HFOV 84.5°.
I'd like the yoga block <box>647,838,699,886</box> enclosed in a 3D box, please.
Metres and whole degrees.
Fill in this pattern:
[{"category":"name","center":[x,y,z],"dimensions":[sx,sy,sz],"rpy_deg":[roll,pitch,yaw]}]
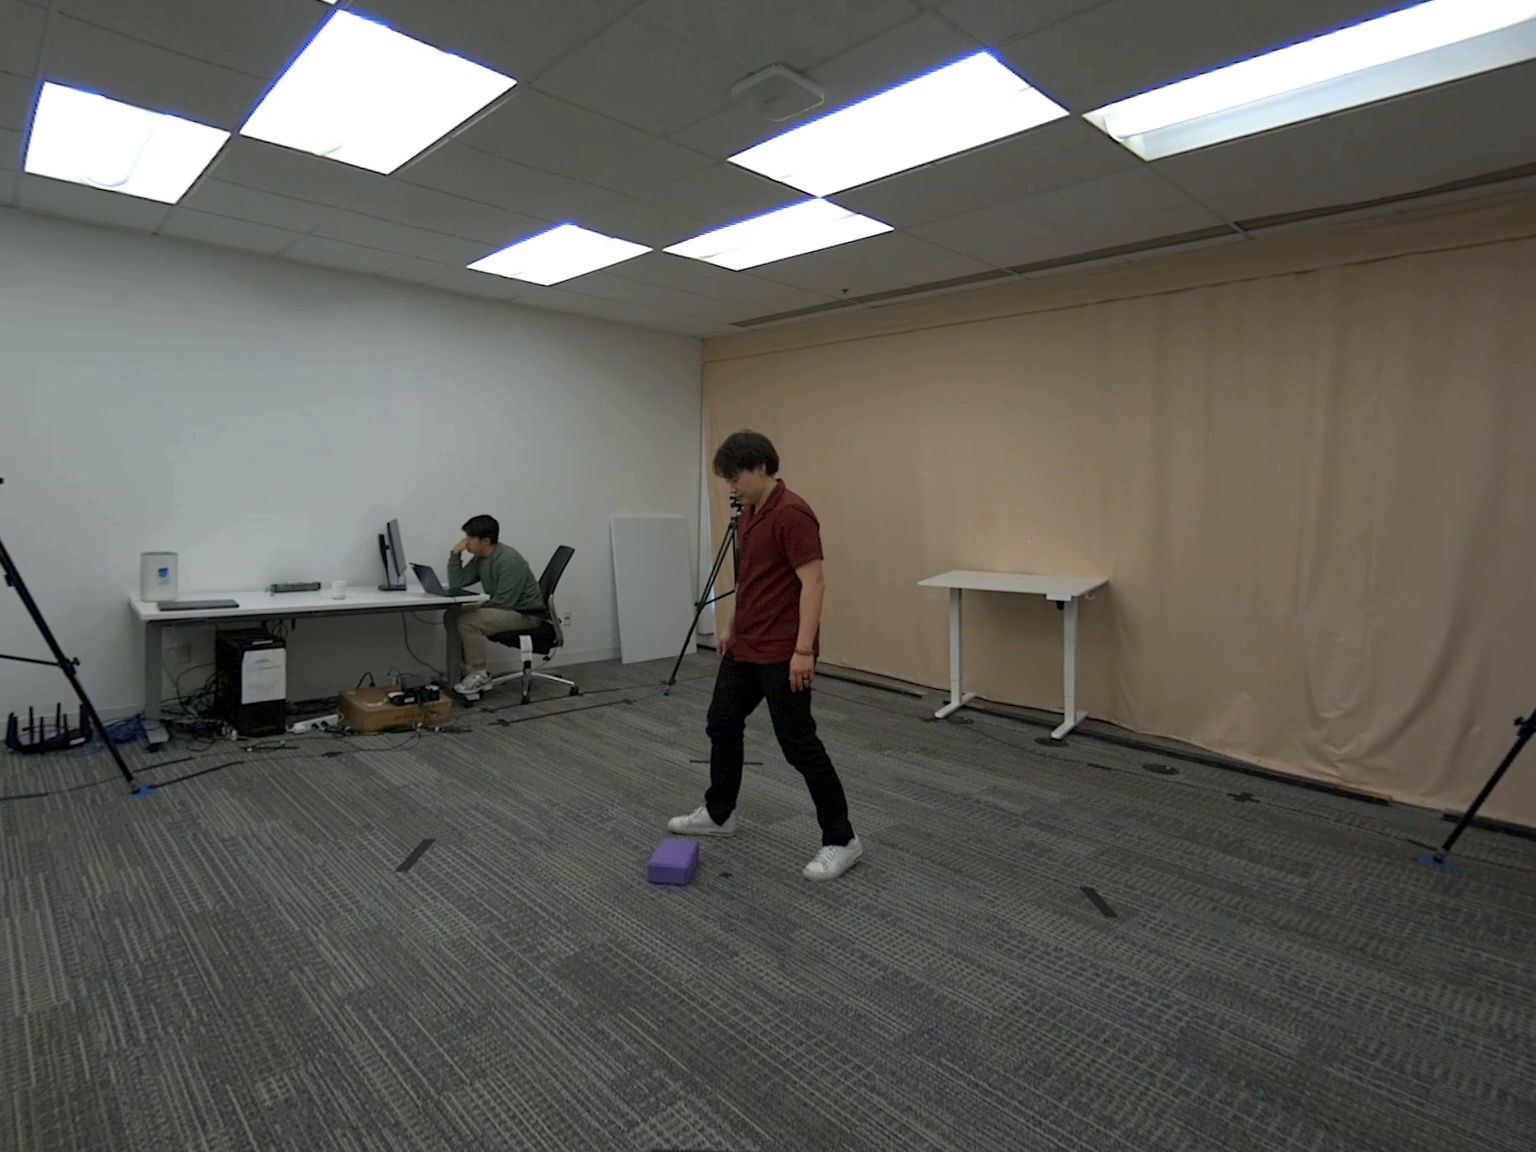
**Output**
[{"category":"yoga block","center":[-0.356,1.058,3.118],"dimensions":[0.150,0.076,0.228],"rpy_deg":[2,6,9]}]
